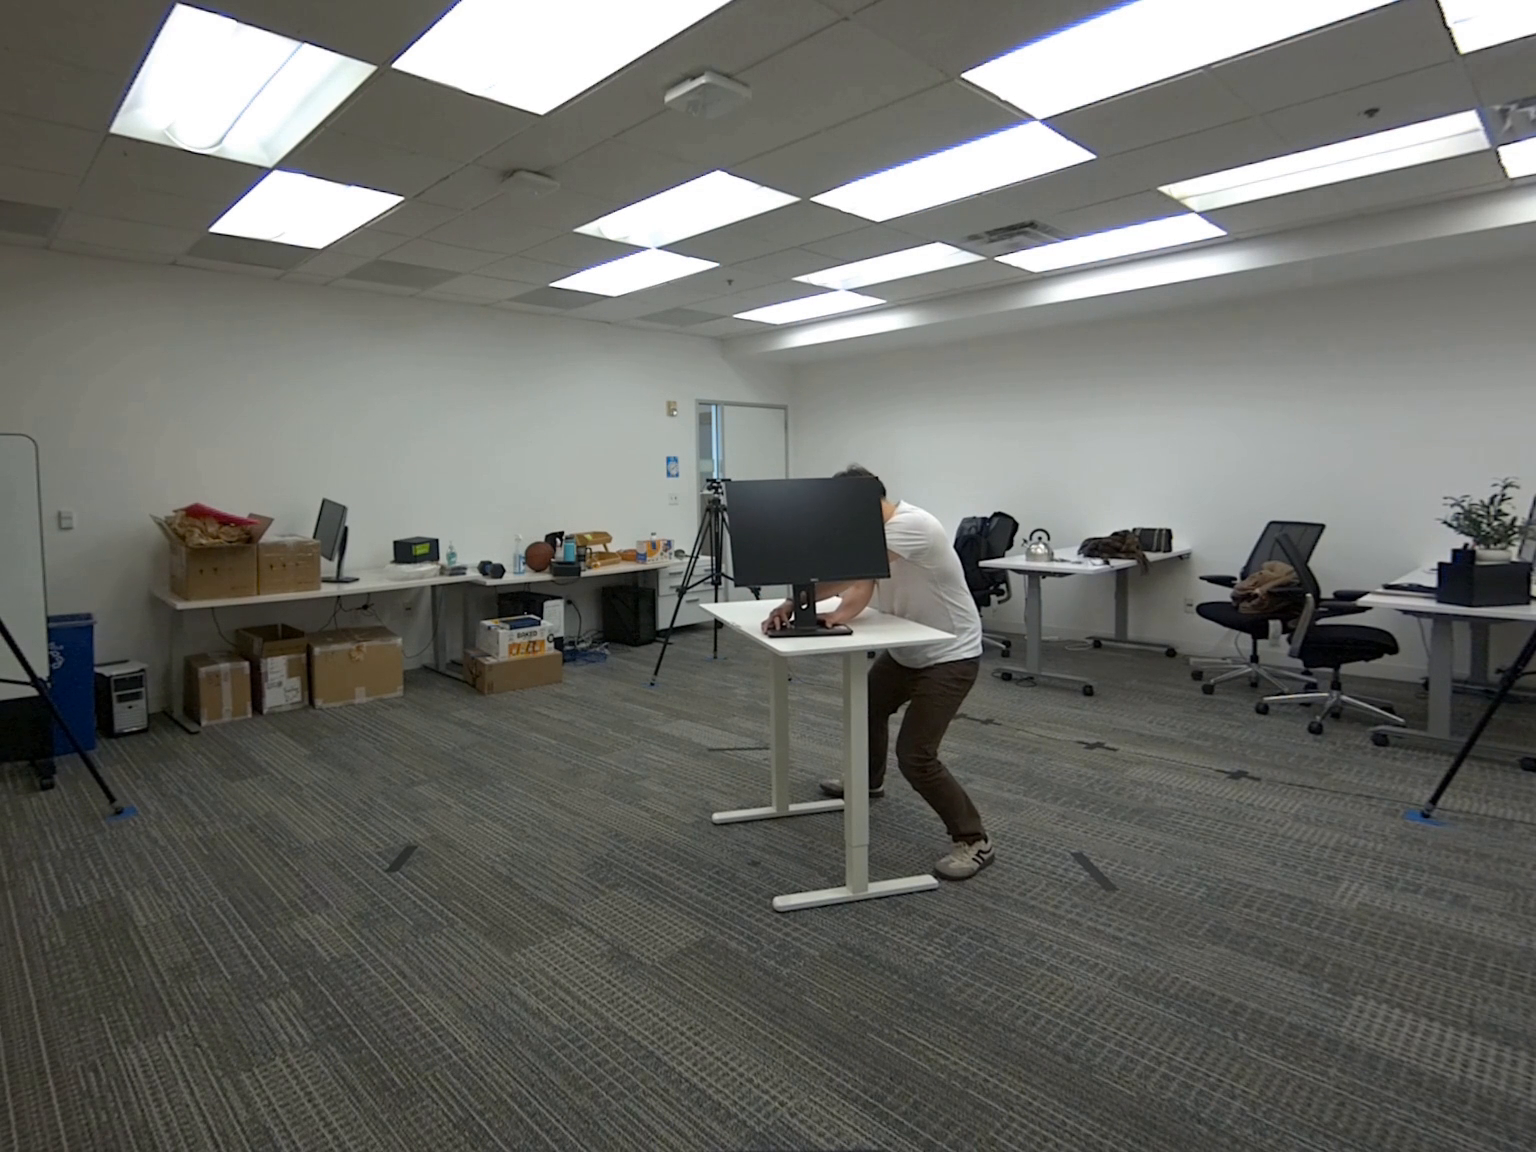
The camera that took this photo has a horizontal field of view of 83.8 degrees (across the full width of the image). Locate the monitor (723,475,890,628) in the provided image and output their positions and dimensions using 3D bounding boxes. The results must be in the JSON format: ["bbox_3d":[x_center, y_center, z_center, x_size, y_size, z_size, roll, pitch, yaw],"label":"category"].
[{"bbox_3d":[0.129,-0.066,2.859,0.532,0.522,0.190,-3,2,-14],"label":"monitor"}]
